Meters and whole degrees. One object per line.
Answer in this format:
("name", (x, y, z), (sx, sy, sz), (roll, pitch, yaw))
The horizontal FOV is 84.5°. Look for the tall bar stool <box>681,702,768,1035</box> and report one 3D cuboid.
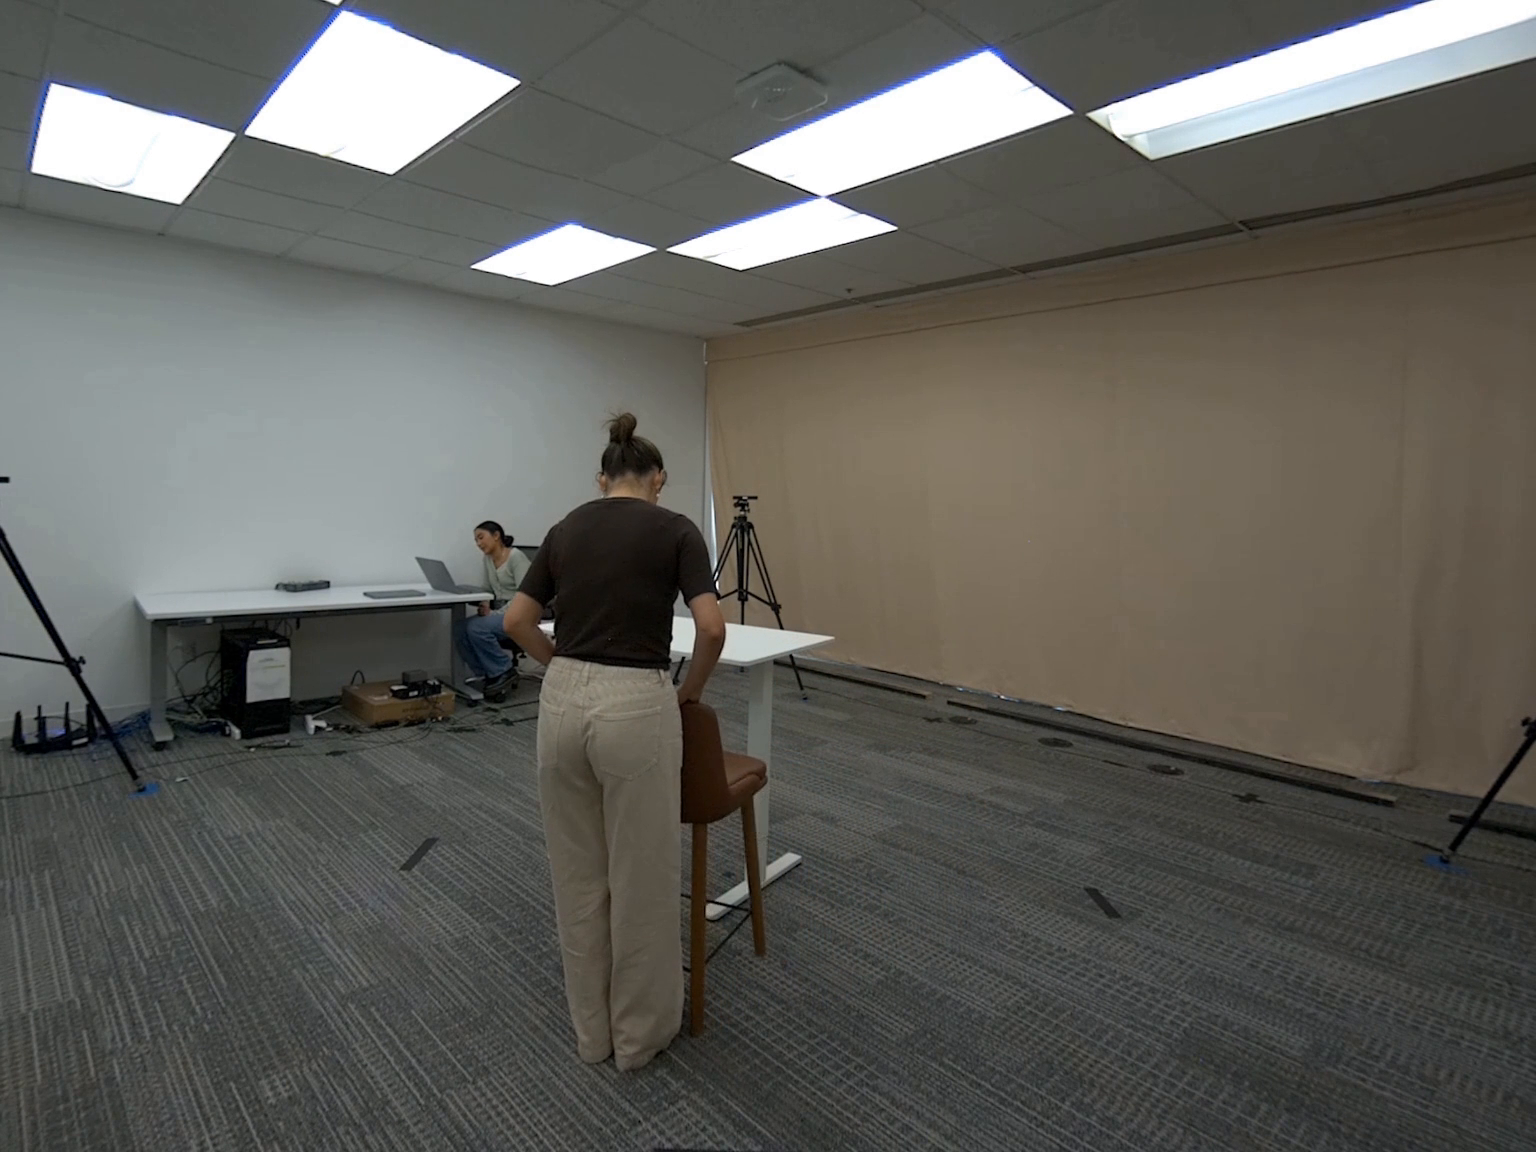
("tall bar stool", (-0.273, 0.727, 2.413), (0.464, 0.886, 0.461), (3, 6, 22))
